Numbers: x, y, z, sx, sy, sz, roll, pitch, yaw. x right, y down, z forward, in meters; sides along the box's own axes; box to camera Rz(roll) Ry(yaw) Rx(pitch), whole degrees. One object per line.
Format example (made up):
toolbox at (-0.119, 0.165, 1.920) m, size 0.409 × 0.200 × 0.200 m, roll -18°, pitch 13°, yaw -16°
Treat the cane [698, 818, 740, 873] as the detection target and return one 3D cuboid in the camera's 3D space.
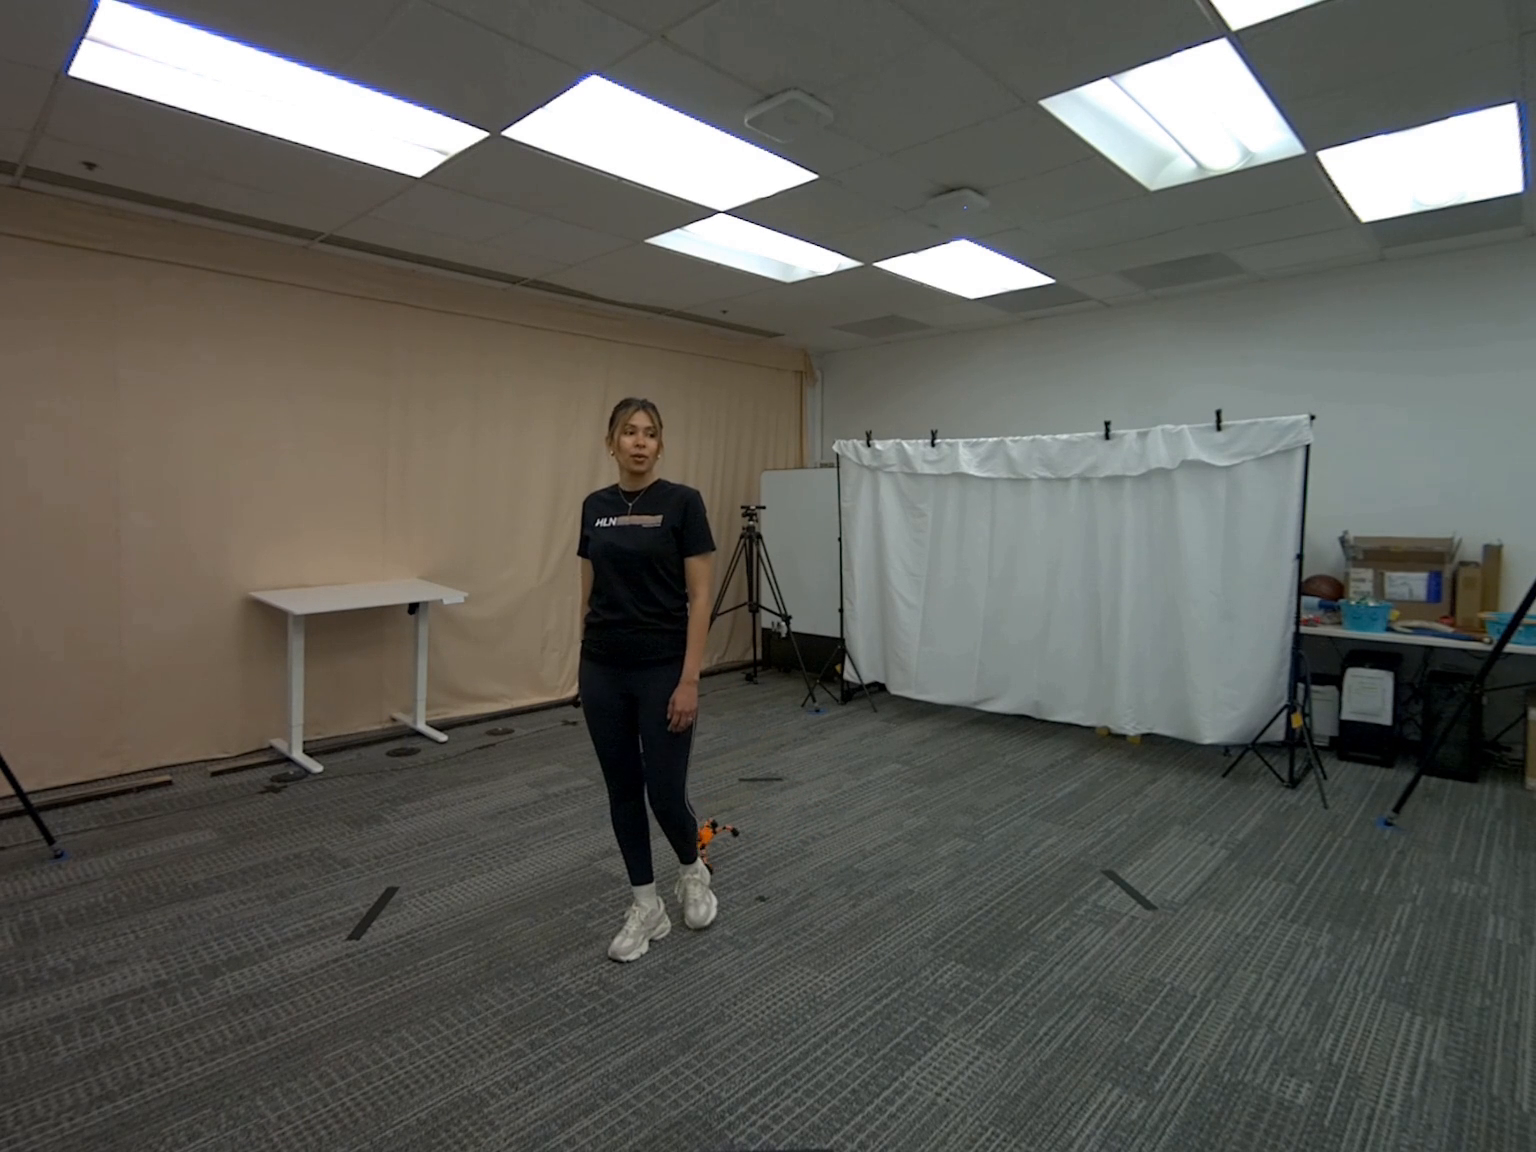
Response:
cane at (-0.411, 0.717, 3.084) m, size 0.156 × 0.885 × 0.205 m, roll -1°, pitch 38°, yaw 45°
